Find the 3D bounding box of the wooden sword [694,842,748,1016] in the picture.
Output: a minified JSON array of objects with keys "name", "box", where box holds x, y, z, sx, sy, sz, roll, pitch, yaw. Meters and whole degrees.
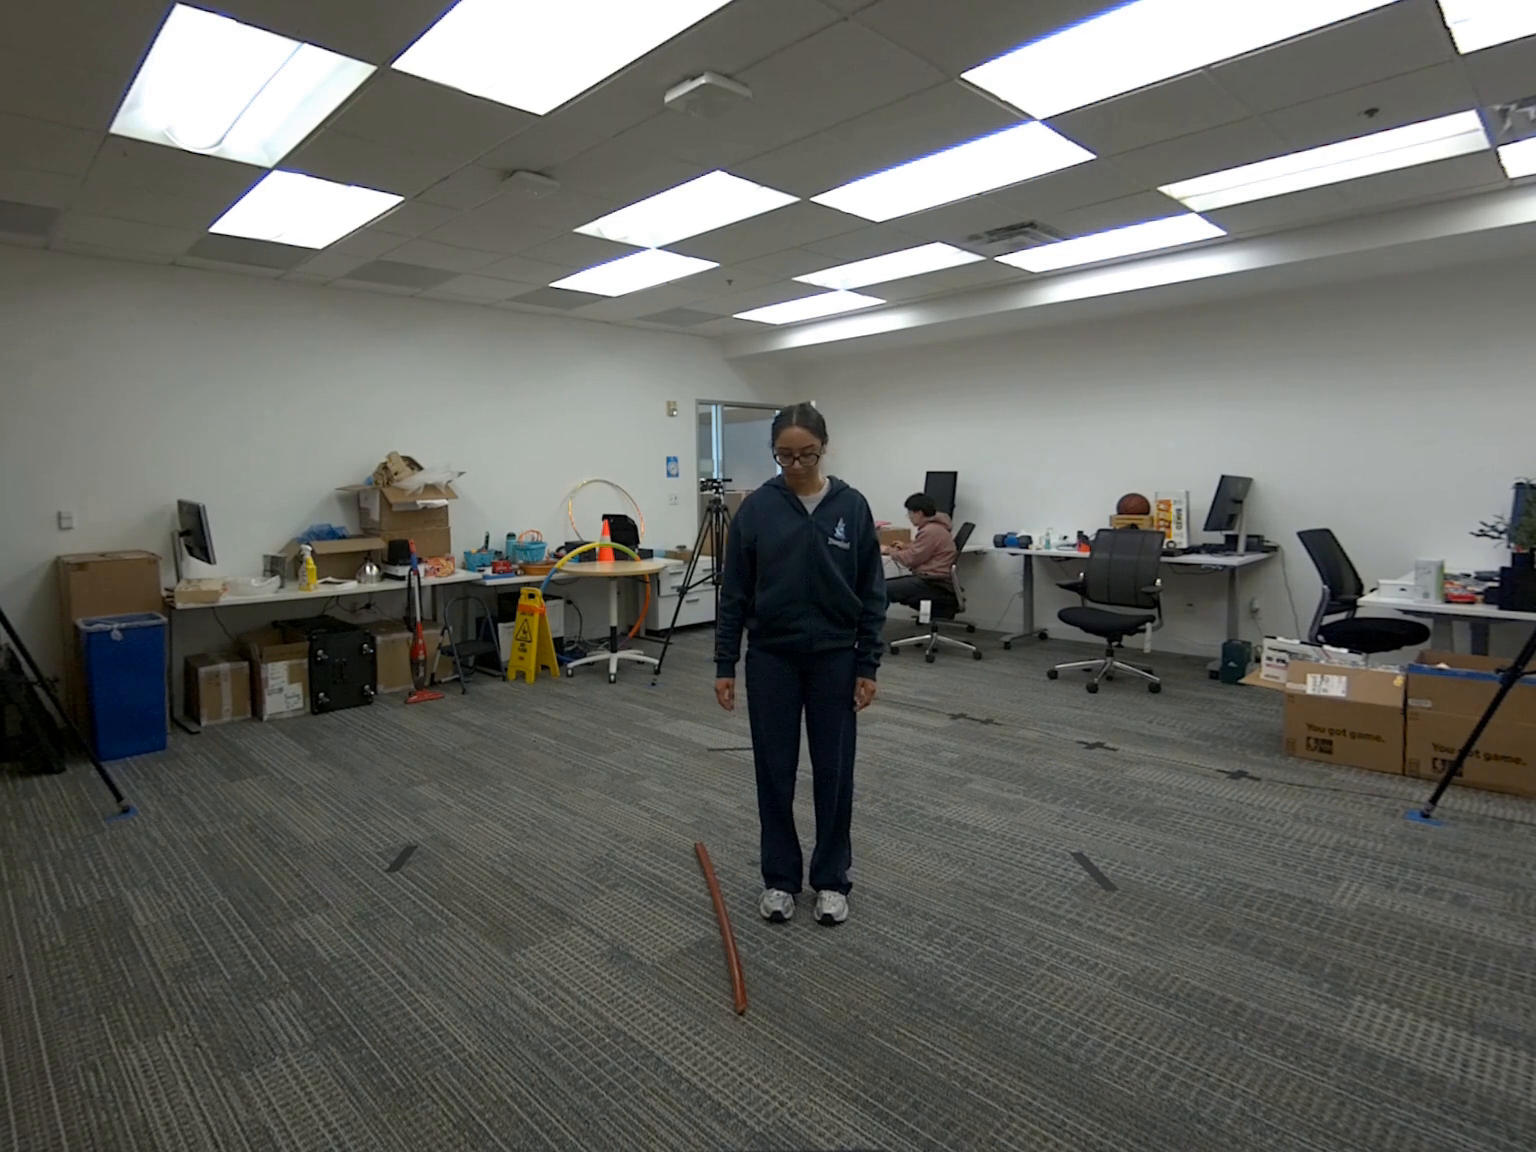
[{"name":"wooden sword","box":[-0.152,1.071,2.734,0.050,0.024,1.038,27,0,-12]}]
